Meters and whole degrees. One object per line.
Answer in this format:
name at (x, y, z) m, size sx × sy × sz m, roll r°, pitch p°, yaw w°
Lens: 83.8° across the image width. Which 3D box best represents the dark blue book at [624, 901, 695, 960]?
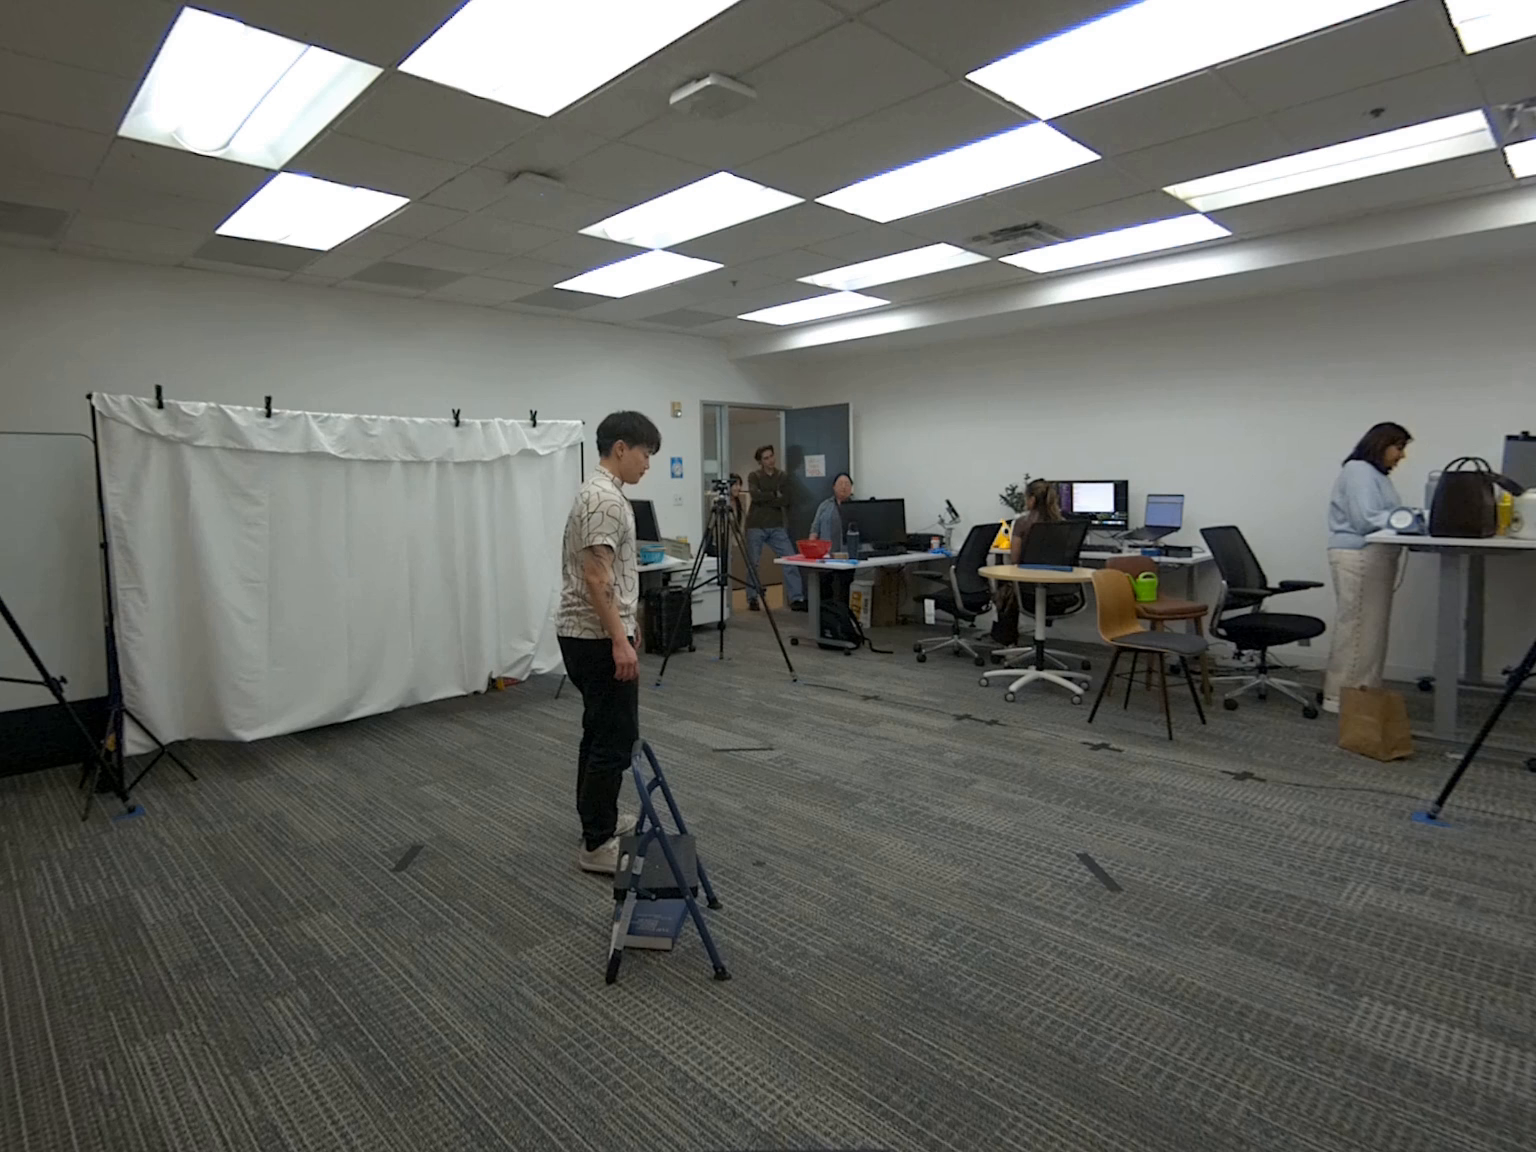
dark blue book at (-0.334, 1.094, 2.658) m, size 0.165 × 0.045 × 0.244 m, roll -2°, pitch 6°, yaw 7°
